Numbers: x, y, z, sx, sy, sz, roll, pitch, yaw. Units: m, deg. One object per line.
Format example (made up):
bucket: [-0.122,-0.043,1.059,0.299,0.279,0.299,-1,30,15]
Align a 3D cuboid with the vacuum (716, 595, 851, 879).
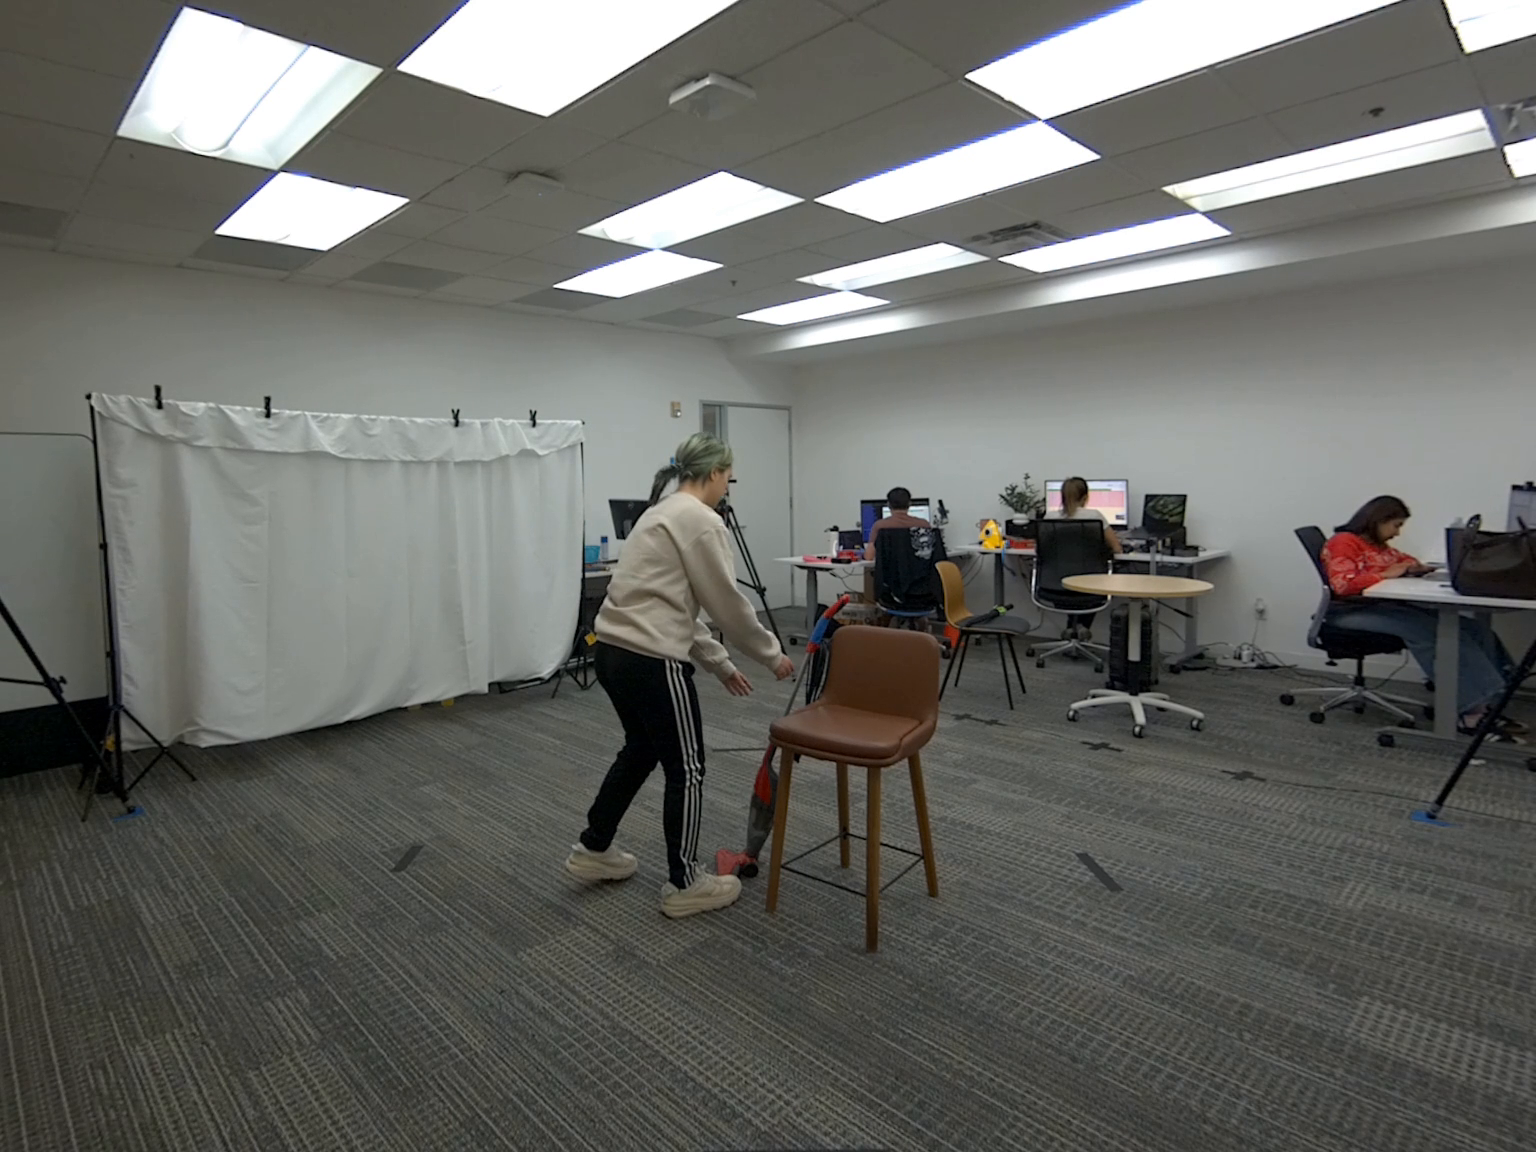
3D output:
vacuum: [0.086,0.560,3.037,0.142,1.048,0.257,20,2,-13]
